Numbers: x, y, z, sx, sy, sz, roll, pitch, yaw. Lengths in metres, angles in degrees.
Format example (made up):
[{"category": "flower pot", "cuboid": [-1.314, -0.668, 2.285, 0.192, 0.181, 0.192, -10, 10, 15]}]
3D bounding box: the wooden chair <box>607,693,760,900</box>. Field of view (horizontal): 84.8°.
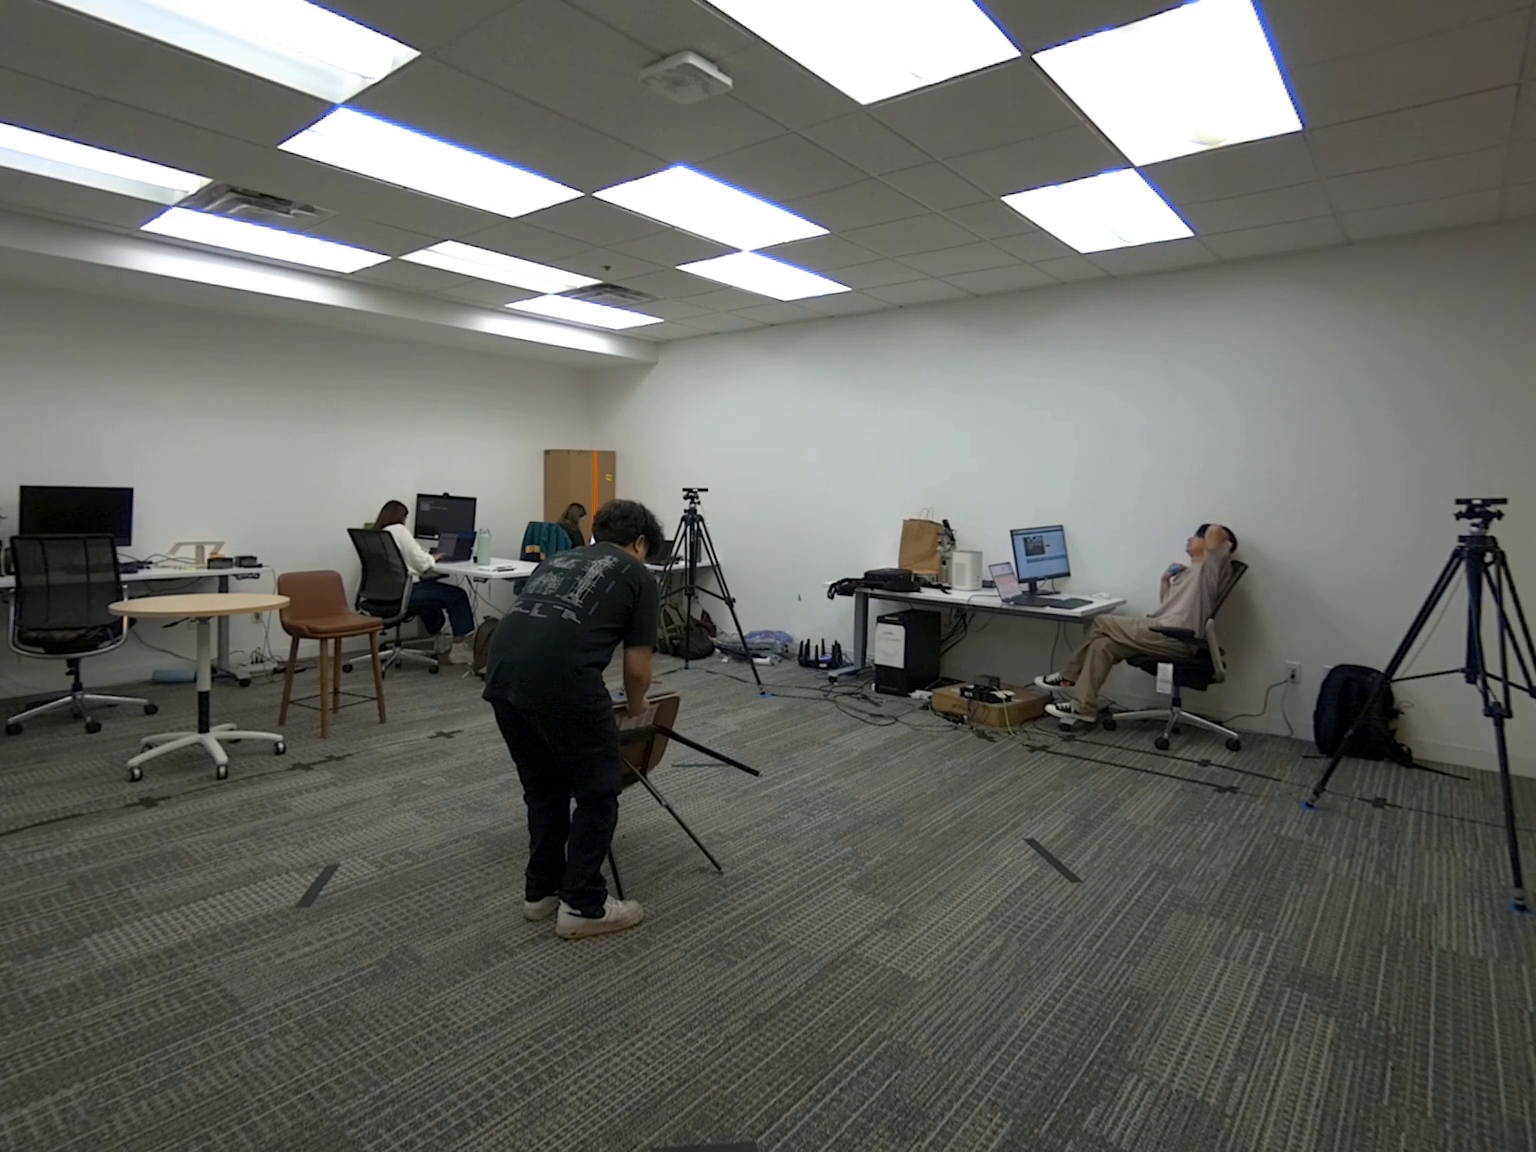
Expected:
[{"category": "wooden chair", "cuboid": [-0.526, 0.675, 3.128, 0.464, 0.517, 0.914, -4, 26, -45]}]
